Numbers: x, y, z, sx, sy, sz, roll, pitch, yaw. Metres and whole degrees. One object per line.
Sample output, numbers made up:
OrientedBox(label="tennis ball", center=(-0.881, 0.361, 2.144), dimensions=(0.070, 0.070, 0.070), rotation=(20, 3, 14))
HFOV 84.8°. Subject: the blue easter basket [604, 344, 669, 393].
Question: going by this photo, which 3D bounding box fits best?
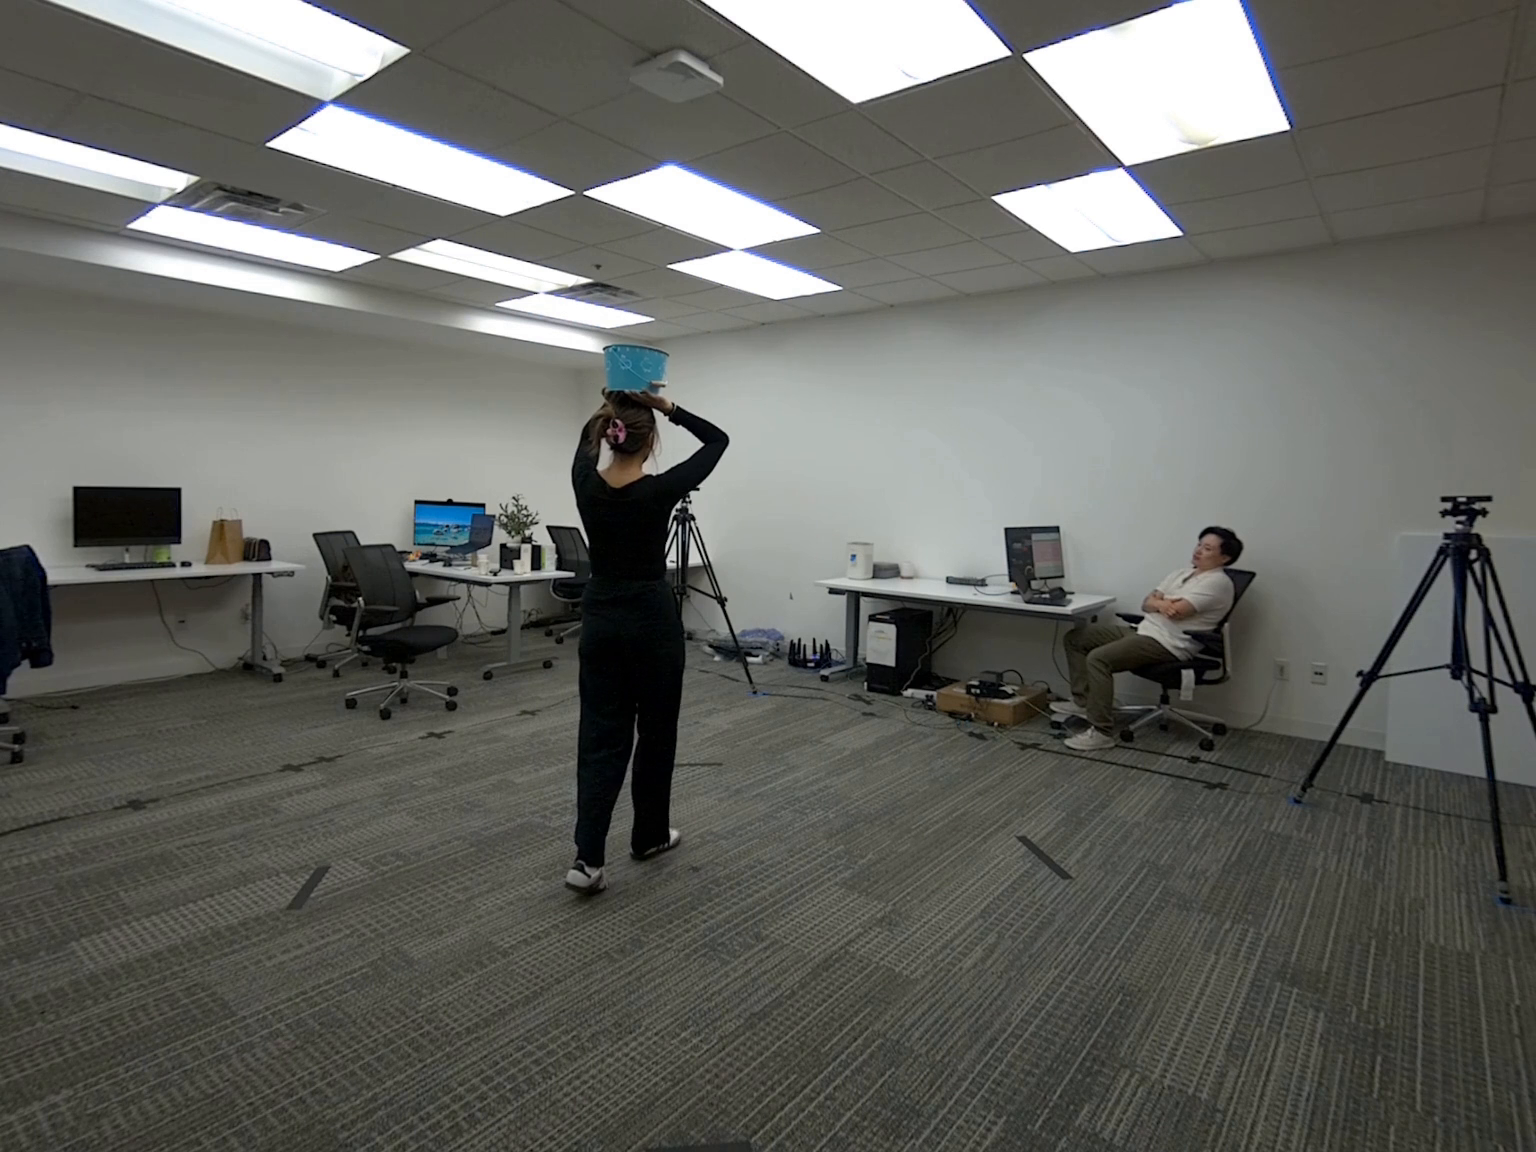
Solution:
OrientedBox(label="blue easter basket", center=(-0.475, -0.705, 2.947), dimensions=(0.243, 0.155, 0.244), rotation=(4, 3, -2))
